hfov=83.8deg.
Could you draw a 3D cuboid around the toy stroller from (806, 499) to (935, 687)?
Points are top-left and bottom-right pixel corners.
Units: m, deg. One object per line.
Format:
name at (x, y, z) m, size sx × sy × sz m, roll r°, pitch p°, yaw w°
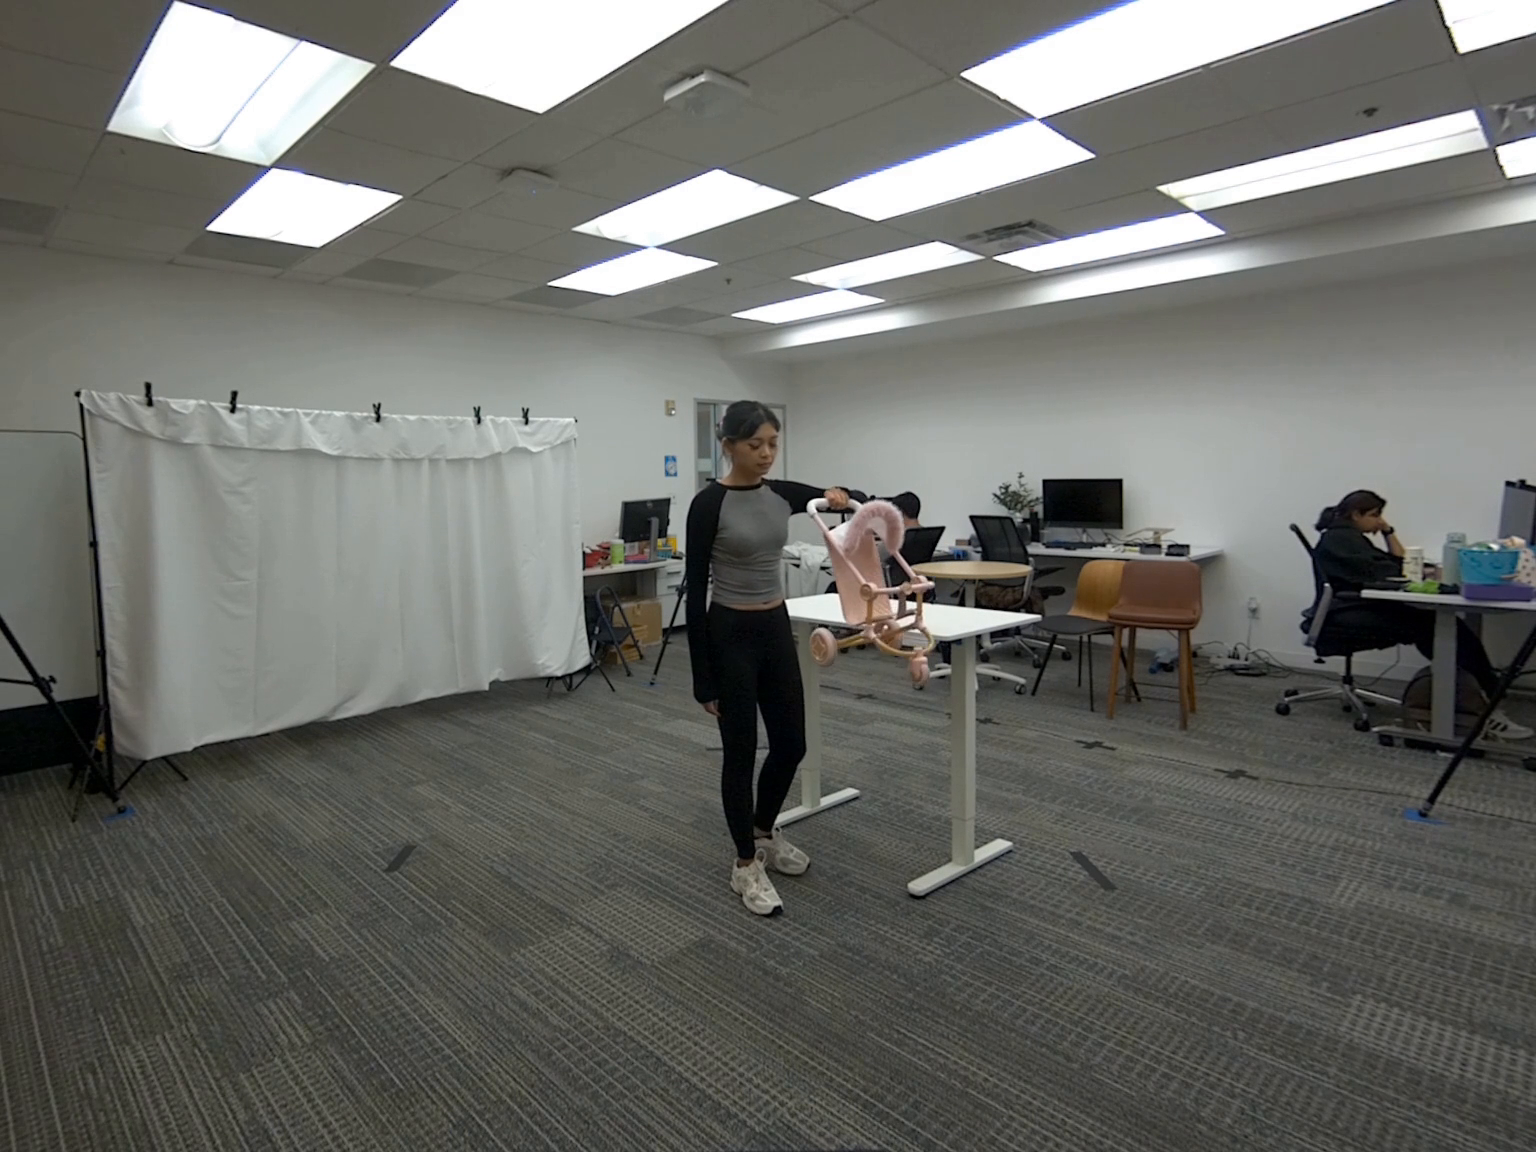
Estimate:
toy stroller at (0.301, 0.031, 2.371) m, size 0.275 × 0.536 × 0.349 m, roll -5°, pitch -1°, yaw -31°
